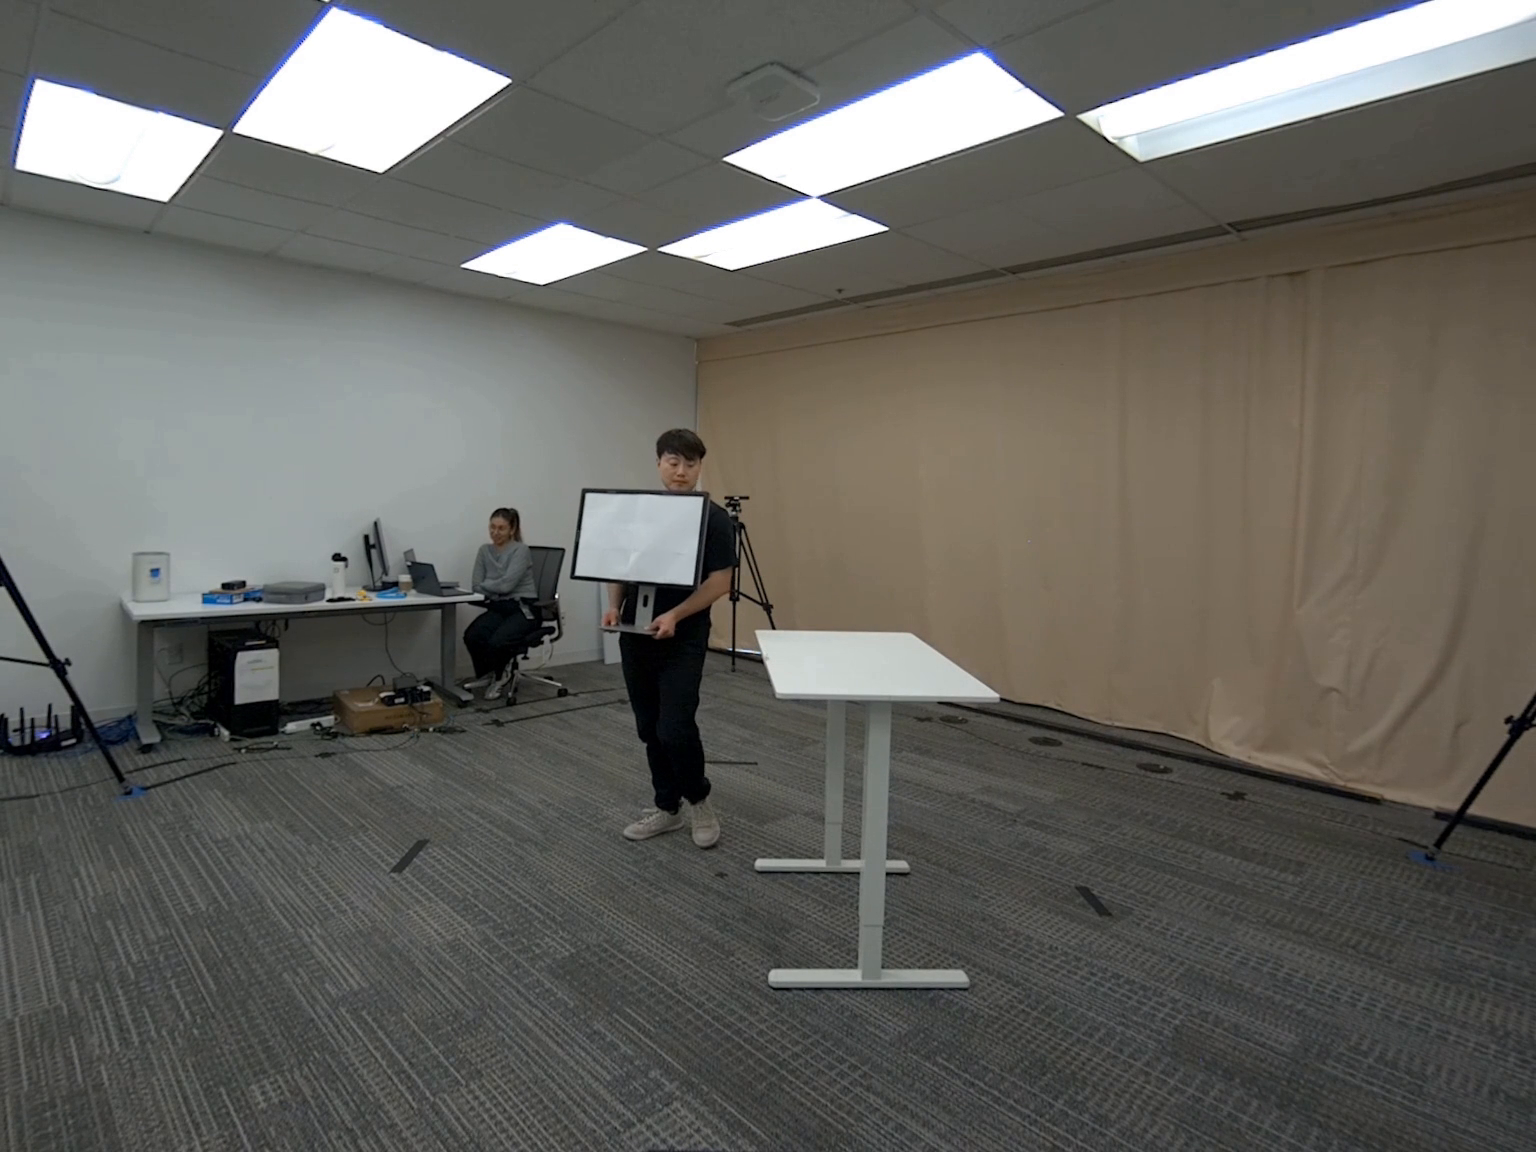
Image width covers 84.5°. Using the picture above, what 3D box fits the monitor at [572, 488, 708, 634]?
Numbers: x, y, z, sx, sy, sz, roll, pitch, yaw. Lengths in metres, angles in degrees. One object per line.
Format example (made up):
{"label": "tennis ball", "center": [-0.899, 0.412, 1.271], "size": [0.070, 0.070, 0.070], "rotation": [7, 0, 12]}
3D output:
{"label": "monitor", "center": [-0.488, -0.063, 3.214], "size": [0.549, 0.521, 0.184], "rotation": [4, 4, 24]}
